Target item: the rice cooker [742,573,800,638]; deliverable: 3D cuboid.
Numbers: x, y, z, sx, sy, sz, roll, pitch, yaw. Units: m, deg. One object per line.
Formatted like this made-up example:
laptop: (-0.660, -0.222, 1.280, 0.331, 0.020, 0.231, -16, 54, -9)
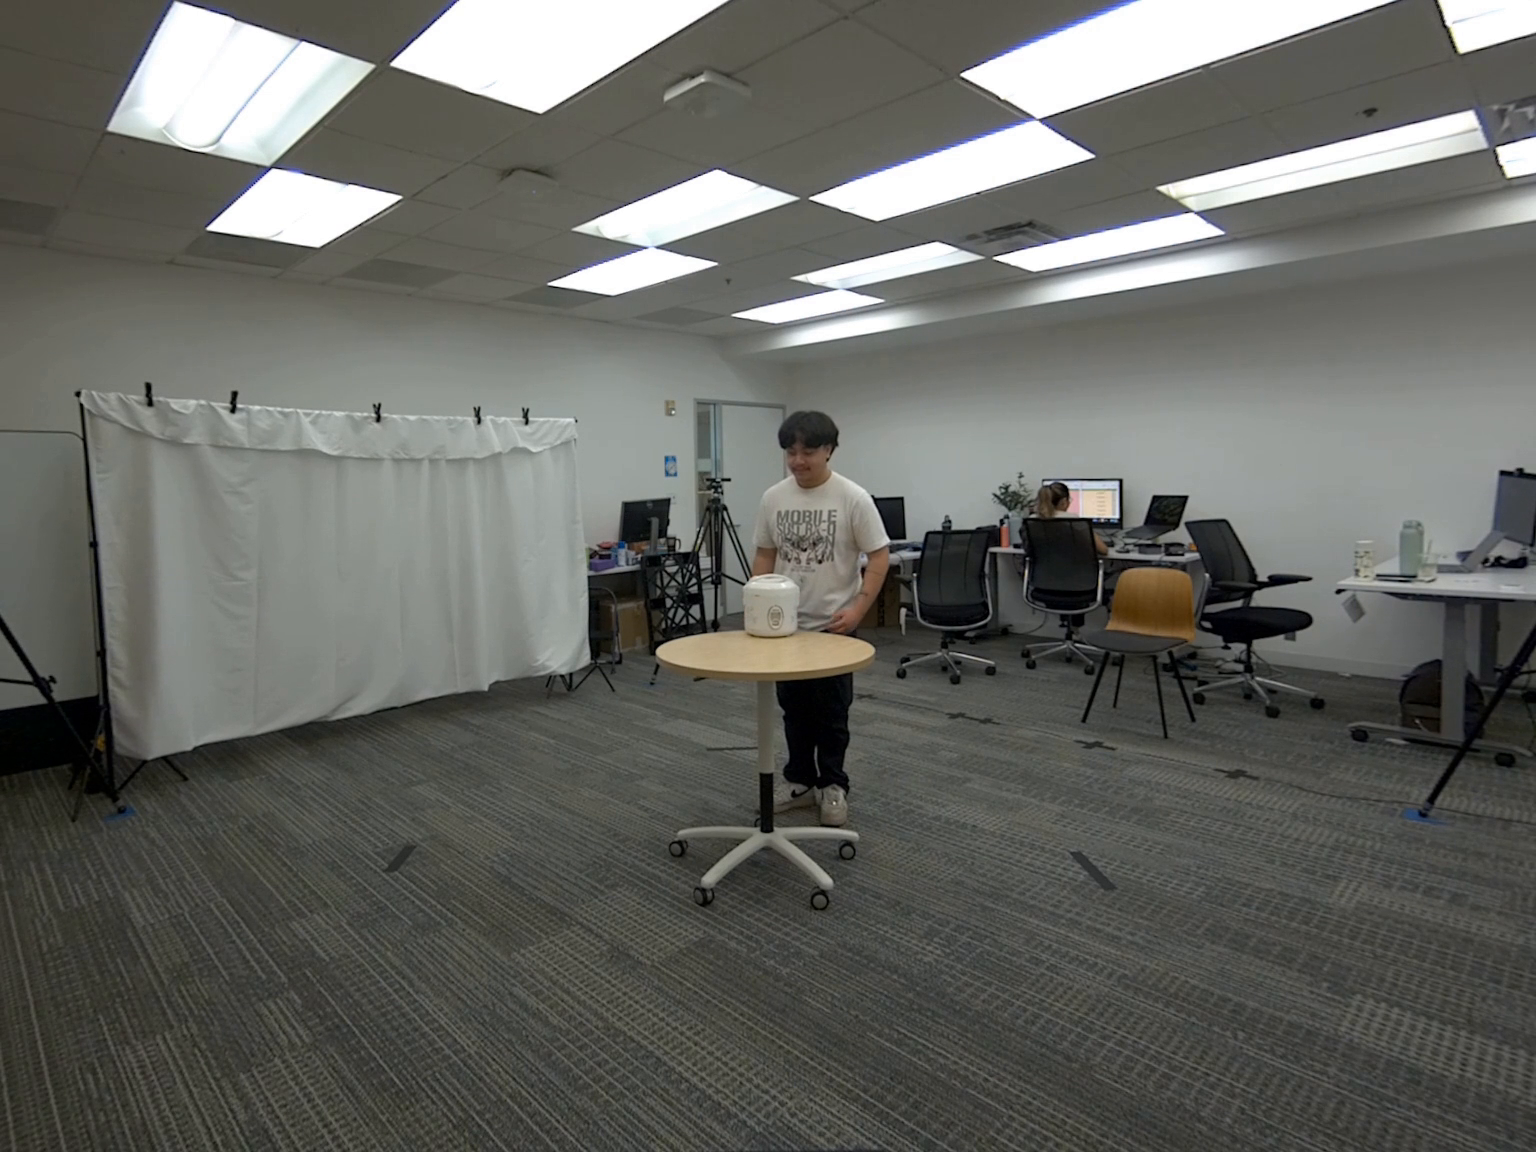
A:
rice cooker: (0.003, 0.111, 3.292, 0.219, 0.232, 0.219, -3, 3, -8)
